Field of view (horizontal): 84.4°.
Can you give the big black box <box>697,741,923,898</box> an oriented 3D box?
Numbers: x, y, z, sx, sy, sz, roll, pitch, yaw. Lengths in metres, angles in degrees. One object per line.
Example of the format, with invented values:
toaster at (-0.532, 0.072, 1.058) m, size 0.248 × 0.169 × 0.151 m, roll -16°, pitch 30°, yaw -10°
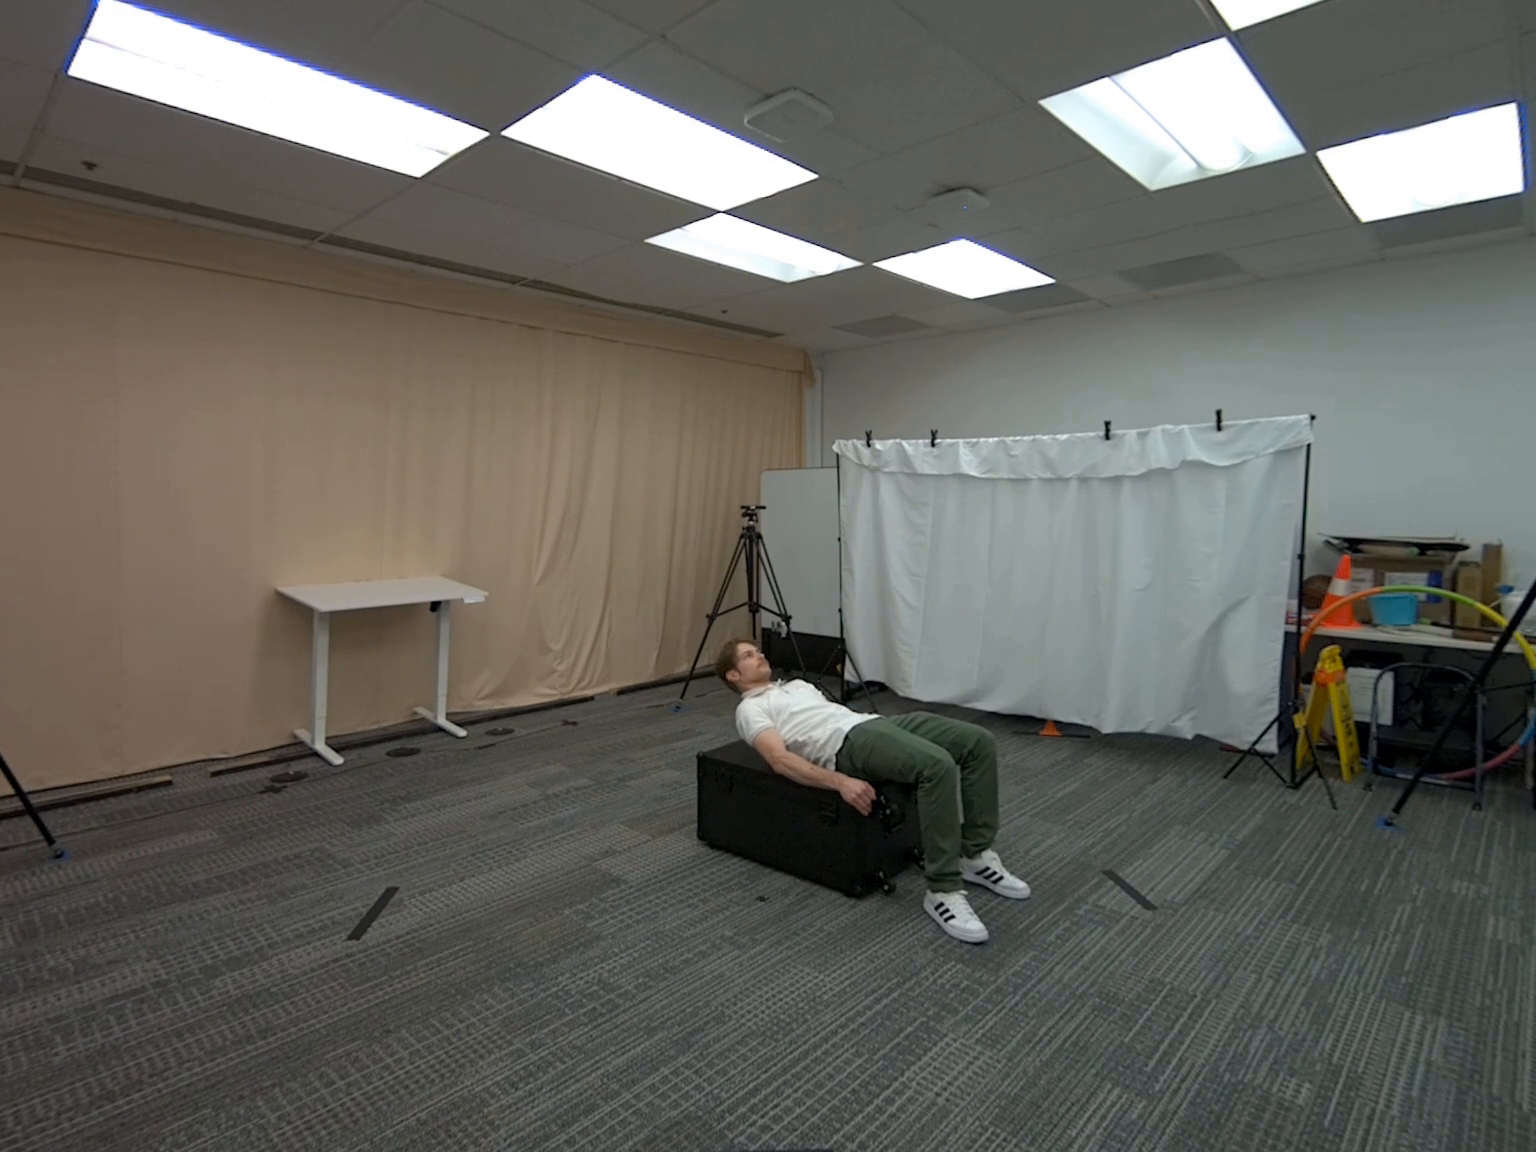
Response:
big black box at (0.190, 0.919, 3.348) m, size 0.897 × 0.384 × 0.507 m, roll 4°, pitch 5°, yaw 39°
